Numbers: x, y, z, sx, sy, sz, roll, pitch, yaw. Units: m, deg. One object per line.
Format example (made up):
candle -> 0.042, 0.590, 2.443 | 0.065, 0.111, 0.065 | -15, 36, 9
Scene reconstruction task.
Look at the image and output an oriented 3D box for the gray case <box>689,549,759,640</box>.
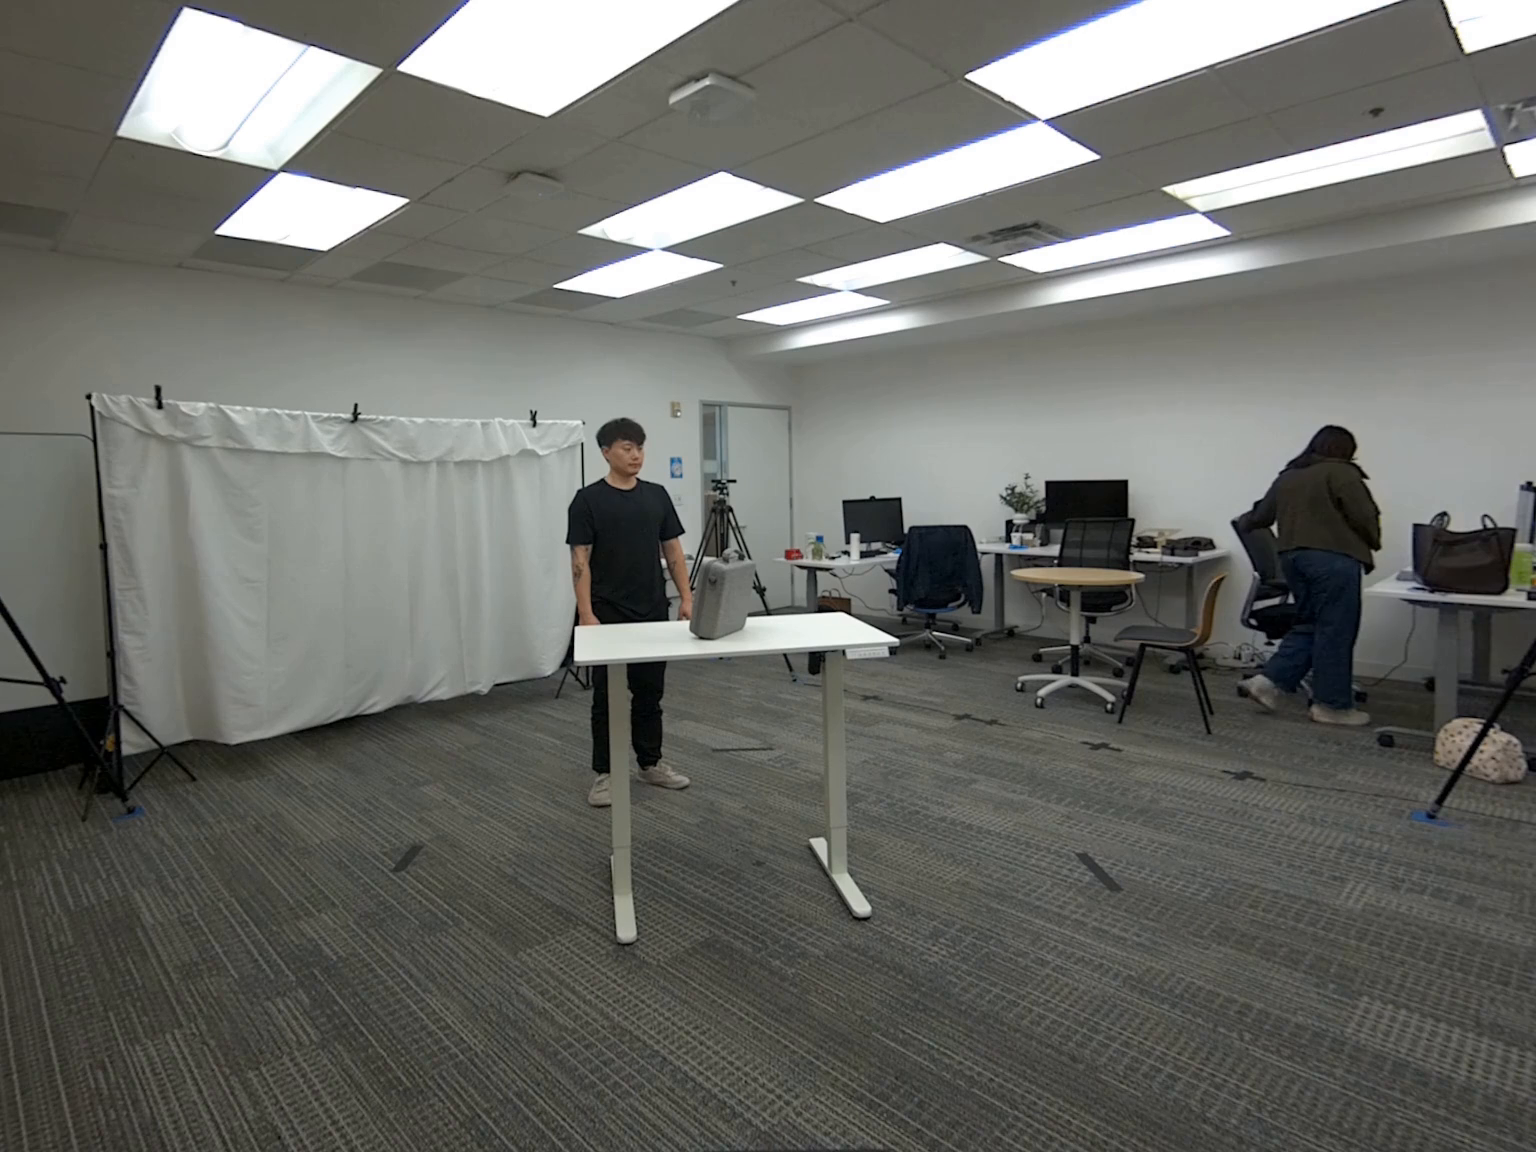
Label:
gray case -> -0.148, 0.067, 2.857 | 0.107, 0.258, 0.253 | 12, 12, 21
